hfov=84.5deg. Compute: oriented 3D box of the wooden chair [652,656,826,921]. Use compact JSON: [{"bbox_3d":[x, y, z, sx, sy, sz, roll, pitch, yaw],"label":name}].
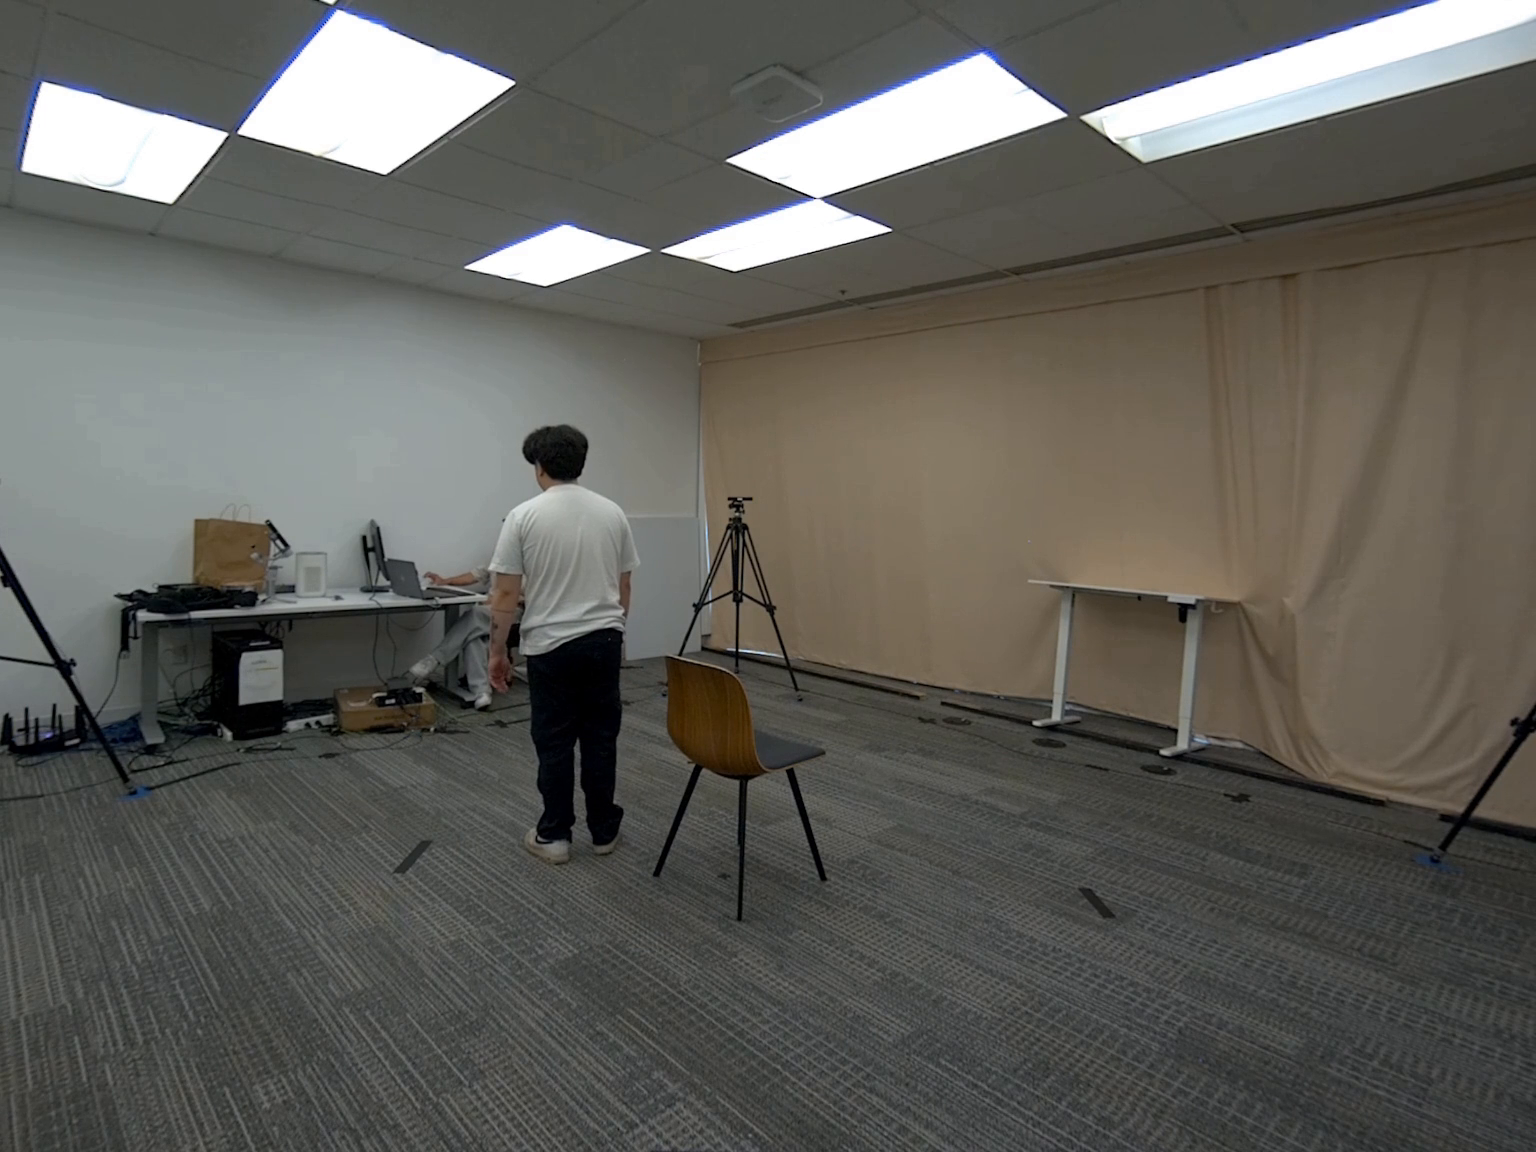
[{"bbox_3d":[-0.089,0.689,3.060,0.490,0.873,0.512,4,8,44],"label":"wooden chair"}]
